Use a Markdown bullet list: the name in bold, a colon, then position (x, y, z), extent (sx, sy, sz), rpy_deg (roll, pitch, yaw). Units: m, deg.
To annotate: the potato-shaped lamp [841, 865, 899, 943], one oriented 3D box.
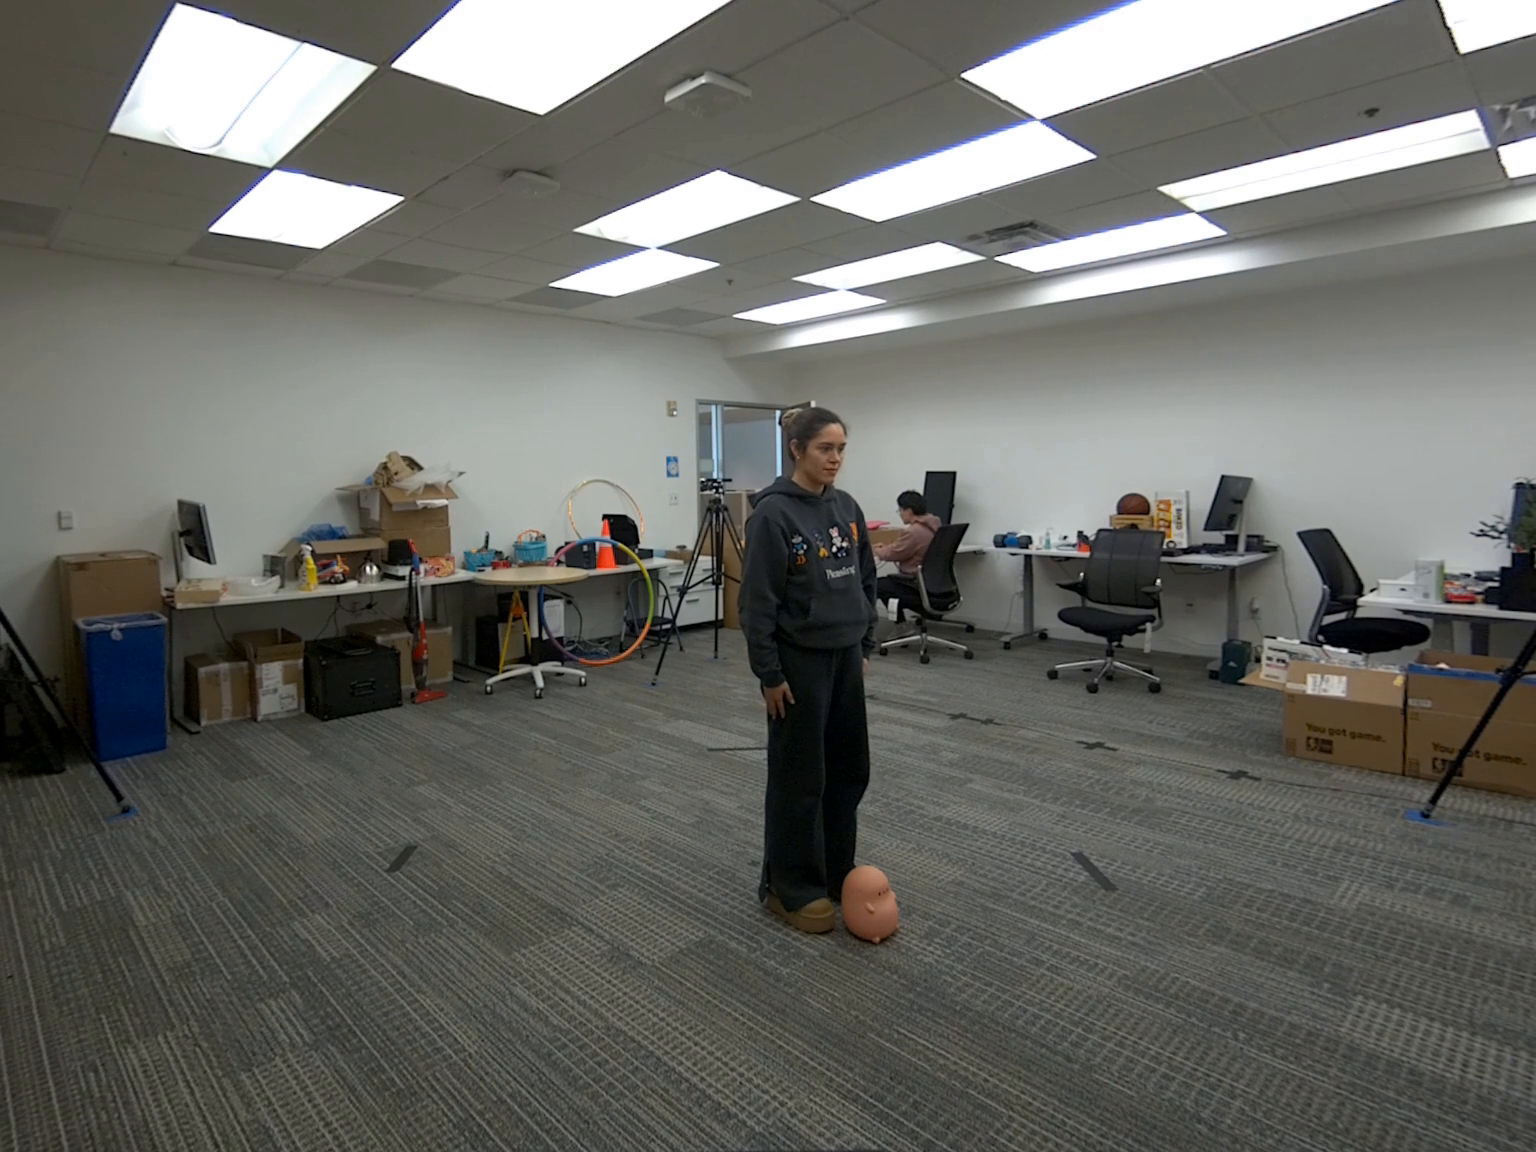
- **potato-shaped lamp**: position (0.311, 0.990, 2.615), extent (0.160, 0.197, 0.176), rpy_deg (-5, 5, -44)
